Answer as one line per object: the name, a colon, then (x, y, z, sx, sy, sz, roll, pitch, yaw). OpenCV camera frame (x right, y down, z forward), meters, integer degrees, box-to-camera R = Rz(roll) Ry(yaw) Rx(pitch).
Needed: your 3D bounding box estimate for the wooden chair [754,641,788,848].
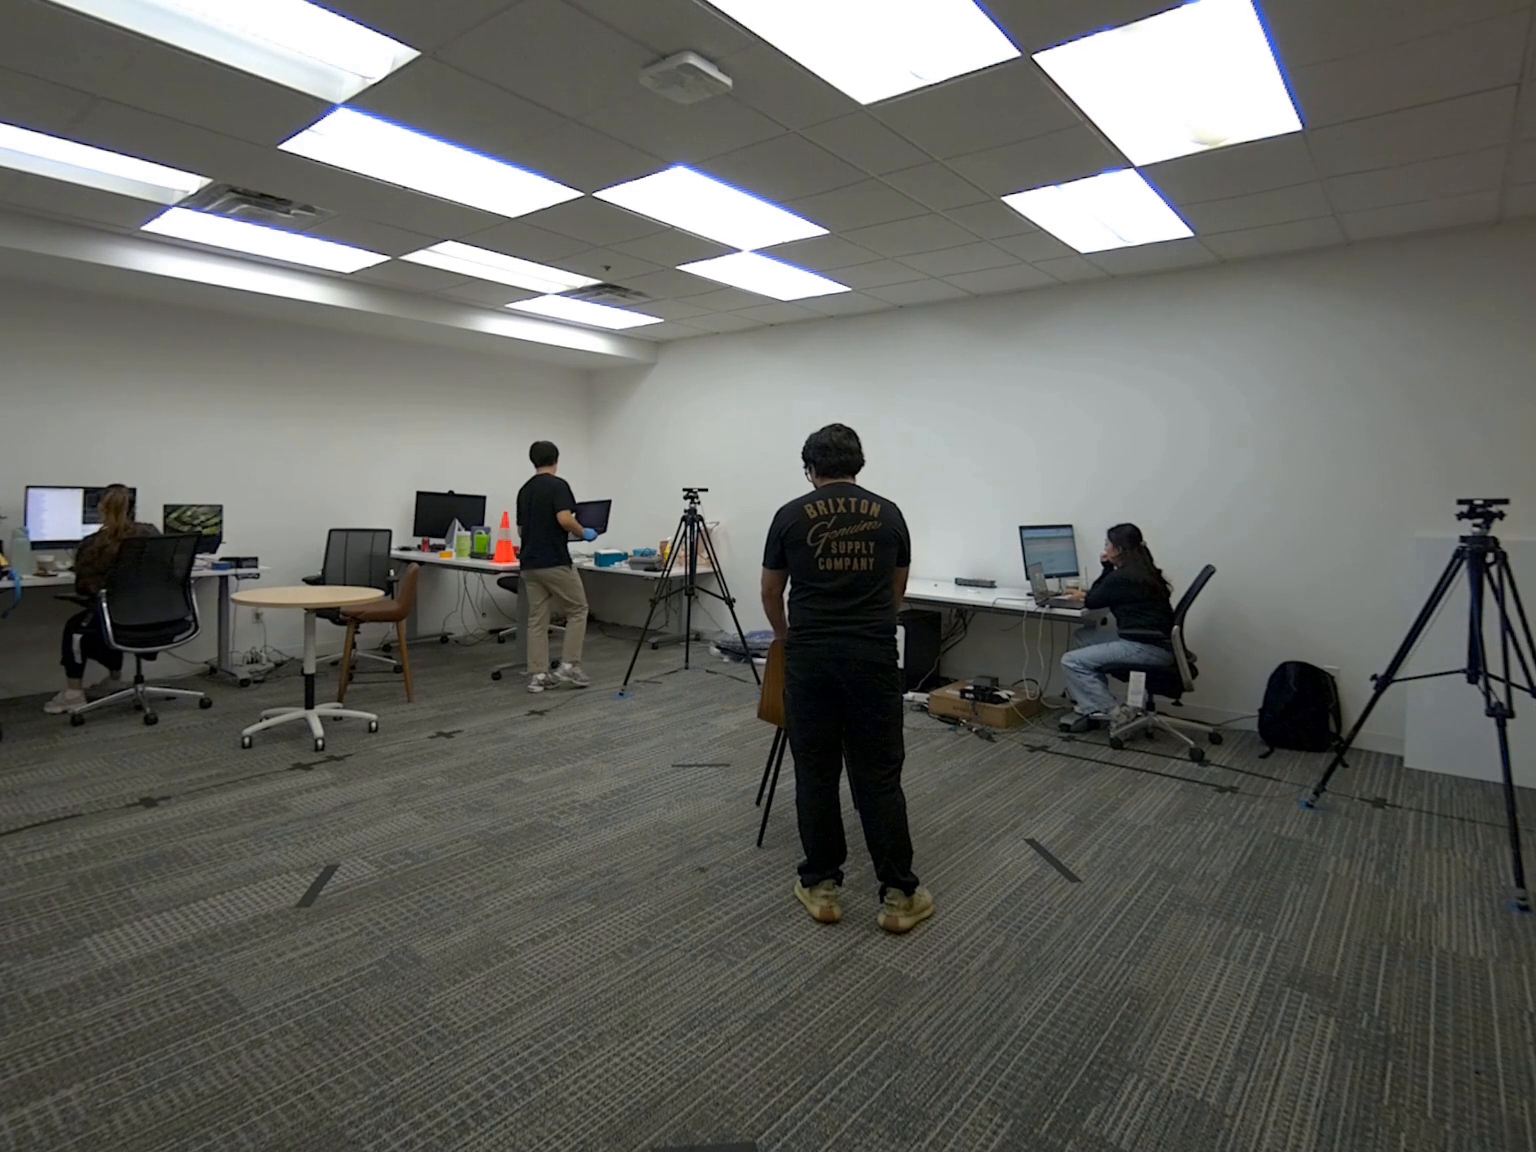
wooden chair: (0.170, 0.607, 3.510, 0.478, 0.871, 0.527, 1, 8, 0)
